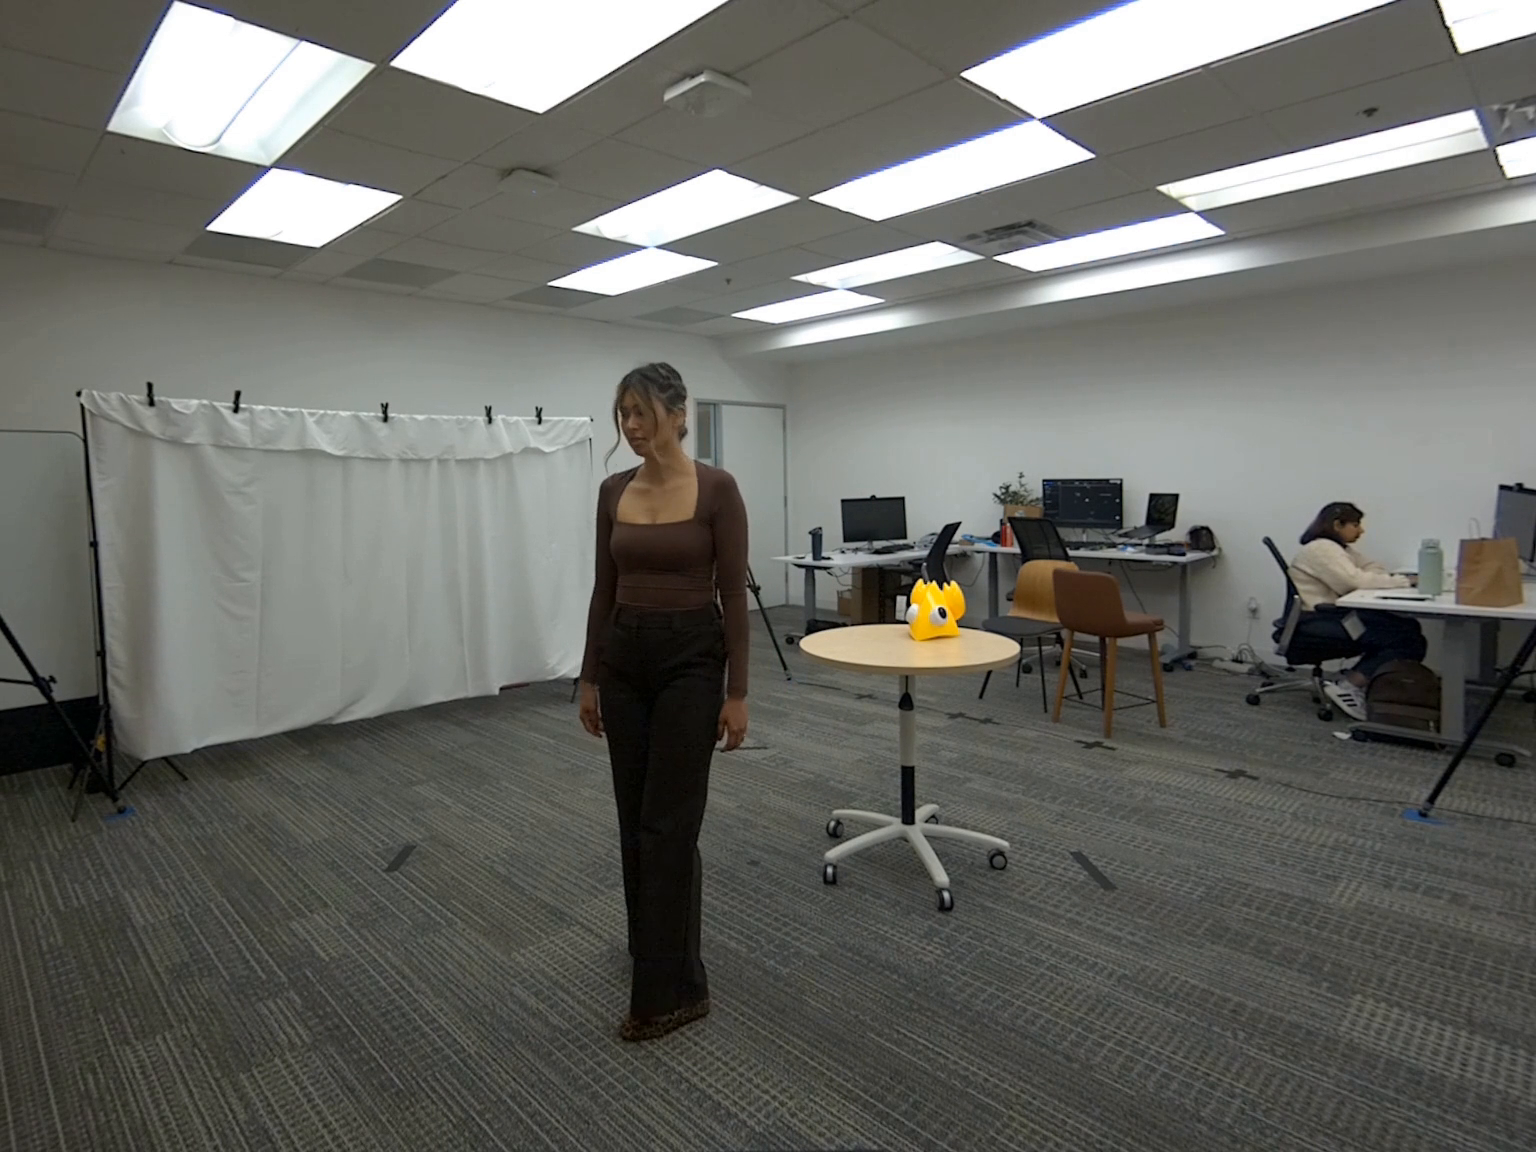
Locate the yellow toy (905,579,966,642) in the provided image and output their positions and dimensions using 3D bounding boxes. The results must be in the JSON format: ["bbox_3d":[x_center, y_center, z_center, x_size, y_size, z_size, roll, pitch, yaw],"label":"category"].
[{"bbox_3d":[0.598,0.140,3.162,0.210,0.190,0.228,1,20,35],"label":"yellow toy"}]
